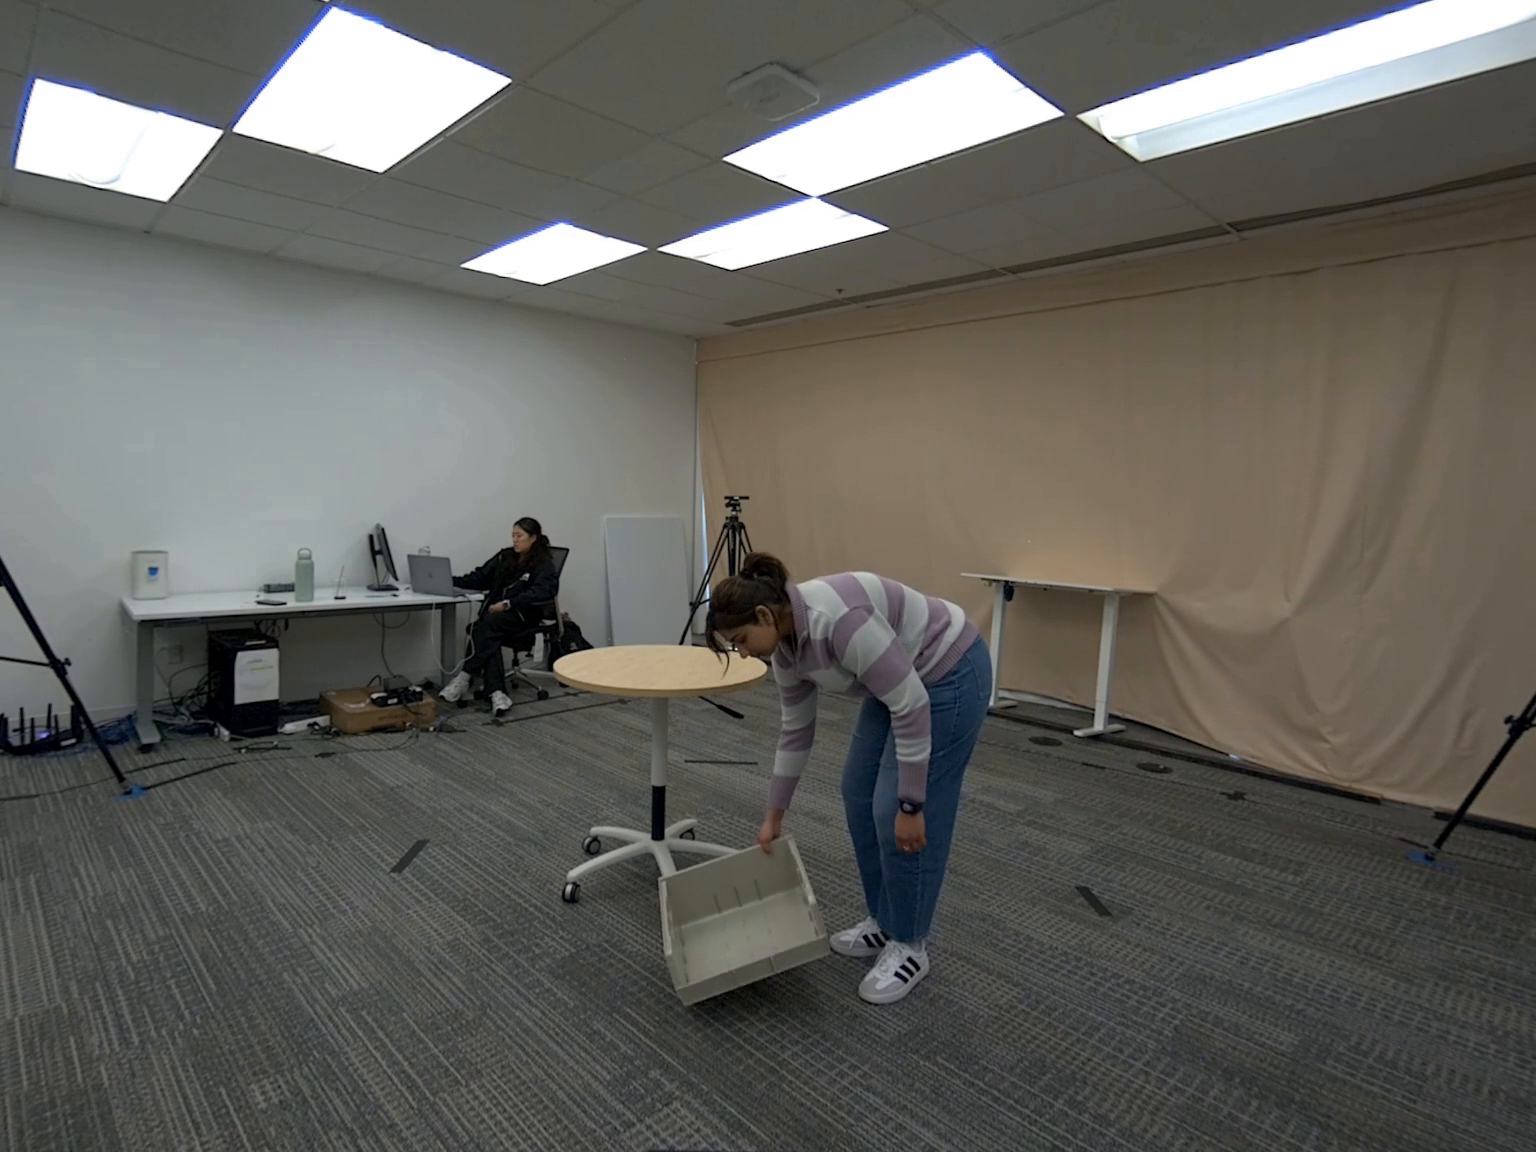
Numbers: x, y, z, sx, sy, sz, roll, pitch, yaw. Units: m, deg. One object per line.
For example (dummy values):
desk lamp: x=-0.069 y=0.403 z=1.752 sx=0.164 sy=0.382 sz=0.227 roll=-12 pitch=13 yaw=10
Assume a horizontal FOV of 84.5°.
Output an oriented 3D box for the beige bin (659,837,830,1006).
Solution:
beige bin: x=-0.074 y=0.963 z=2.358 sx=0.421 sy=0.187 sz=0.382 roll=-16 pitch=12 yaw=-5
